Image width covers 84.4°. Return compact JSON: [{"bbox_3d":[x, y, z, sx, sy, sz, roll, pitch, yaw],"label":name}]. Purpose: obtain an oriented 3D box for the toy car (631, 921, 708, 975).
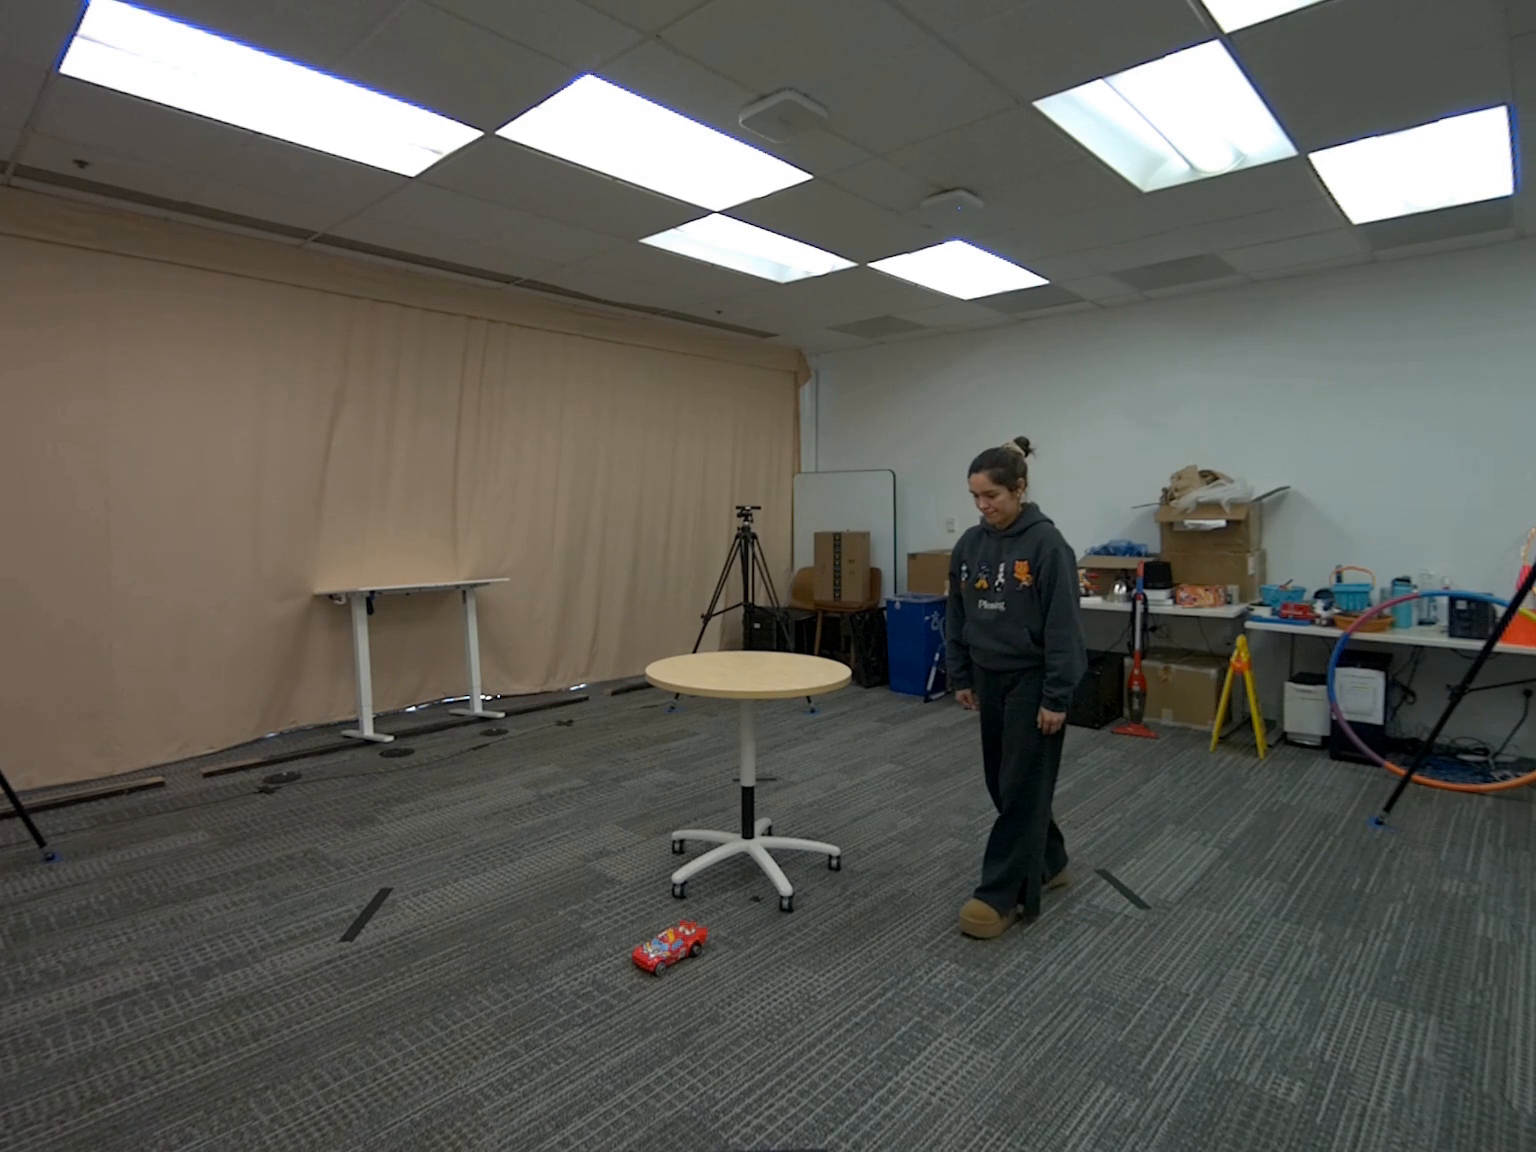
[{"bbox_3d":[-0.277,1.154,2.596,0.134,0.082,0.248,1,16,45],"label":"toy car"}]
